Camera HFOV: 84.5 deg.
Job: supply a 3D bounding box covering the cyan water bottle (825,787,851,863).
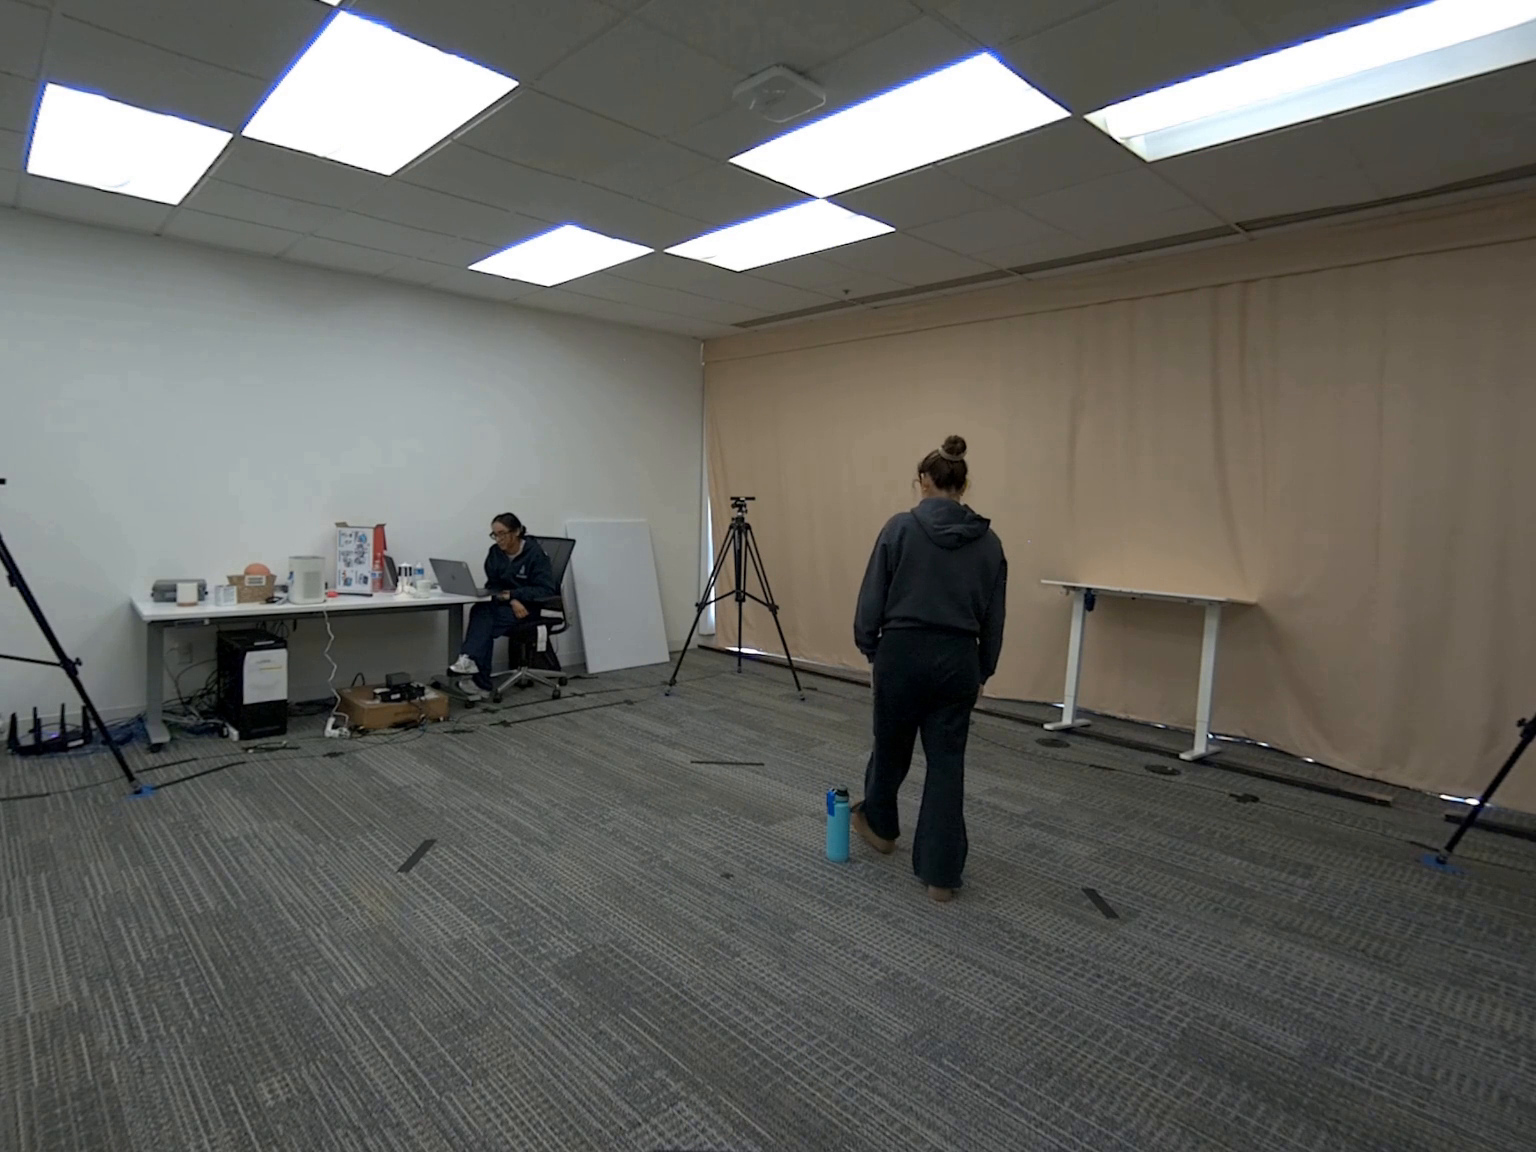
[{"bbox_3d":[0.271,0.954,3.299,0.092,0.282,0.092,1,4,-1],"label":"cyan water bottle"}]
